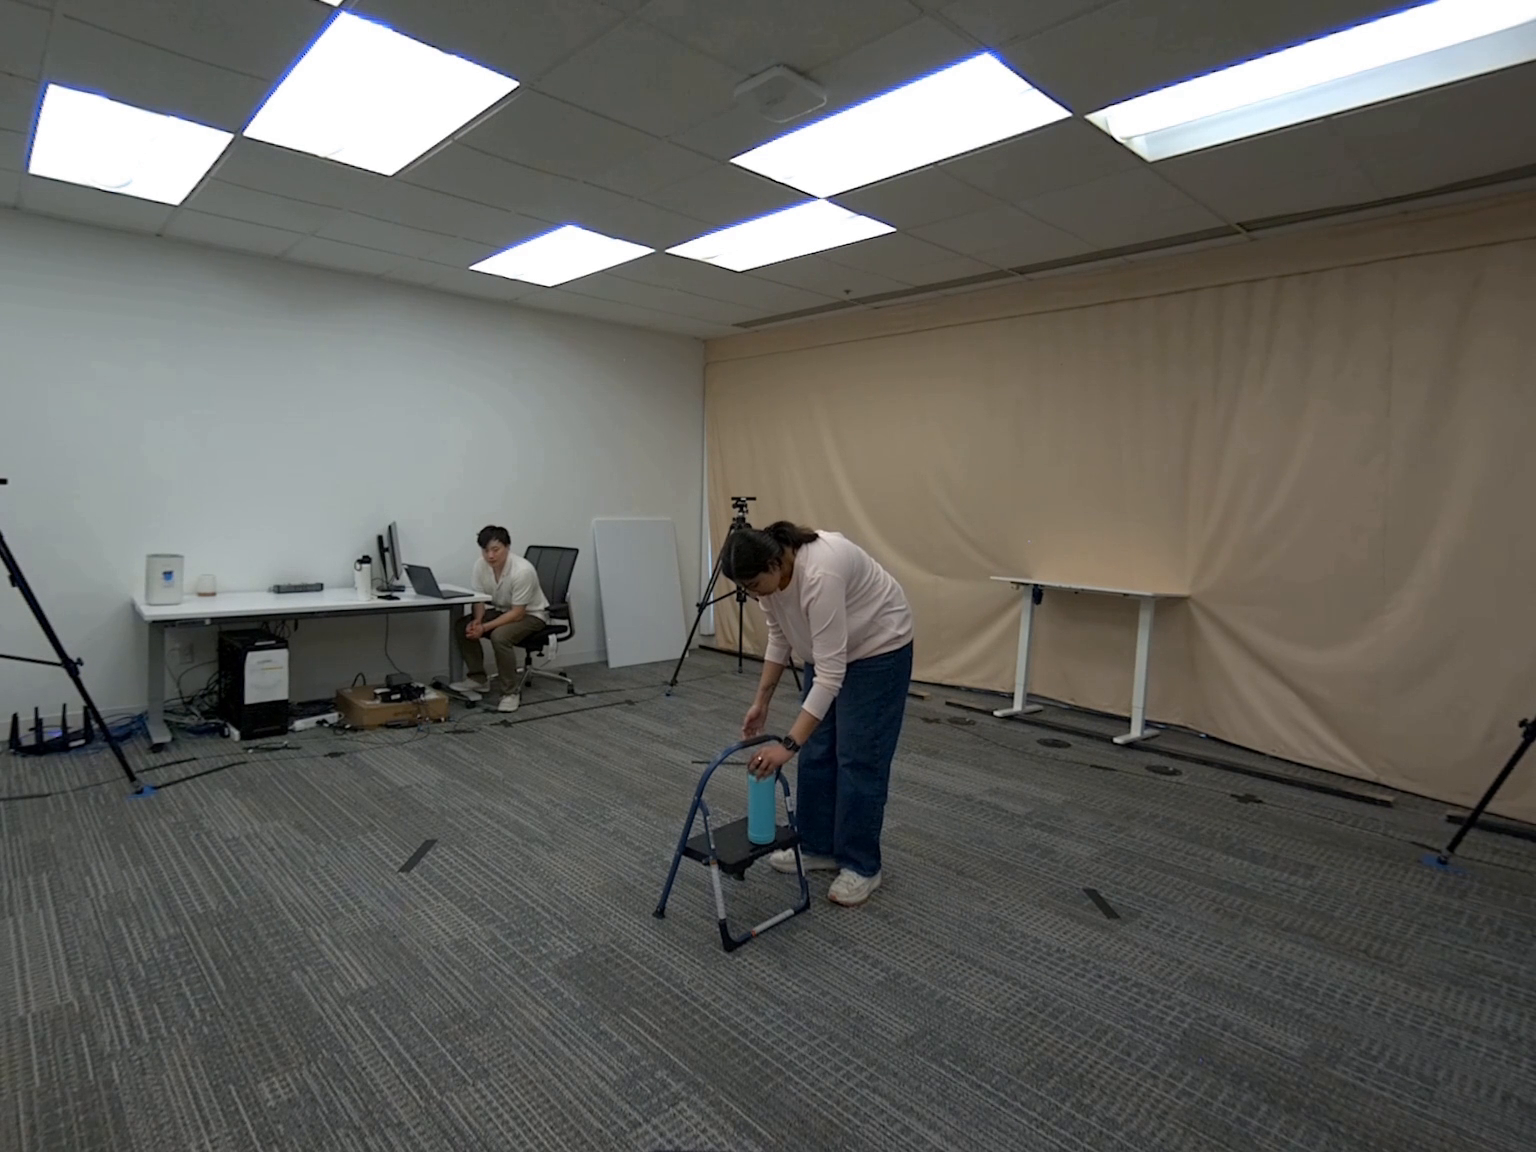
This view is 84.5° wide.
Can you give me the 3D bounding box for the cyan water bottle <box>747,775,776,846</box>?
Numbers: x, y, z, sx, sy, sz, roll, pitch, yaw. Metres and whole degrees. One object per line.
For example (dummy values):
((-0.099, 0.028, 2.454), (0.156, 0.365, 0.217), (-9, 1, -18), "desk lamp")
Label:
((-0.027, 0.737, 2.760), (0.092, 0.282, 0.093), (2, 6, -2), "cyan water bottle")
